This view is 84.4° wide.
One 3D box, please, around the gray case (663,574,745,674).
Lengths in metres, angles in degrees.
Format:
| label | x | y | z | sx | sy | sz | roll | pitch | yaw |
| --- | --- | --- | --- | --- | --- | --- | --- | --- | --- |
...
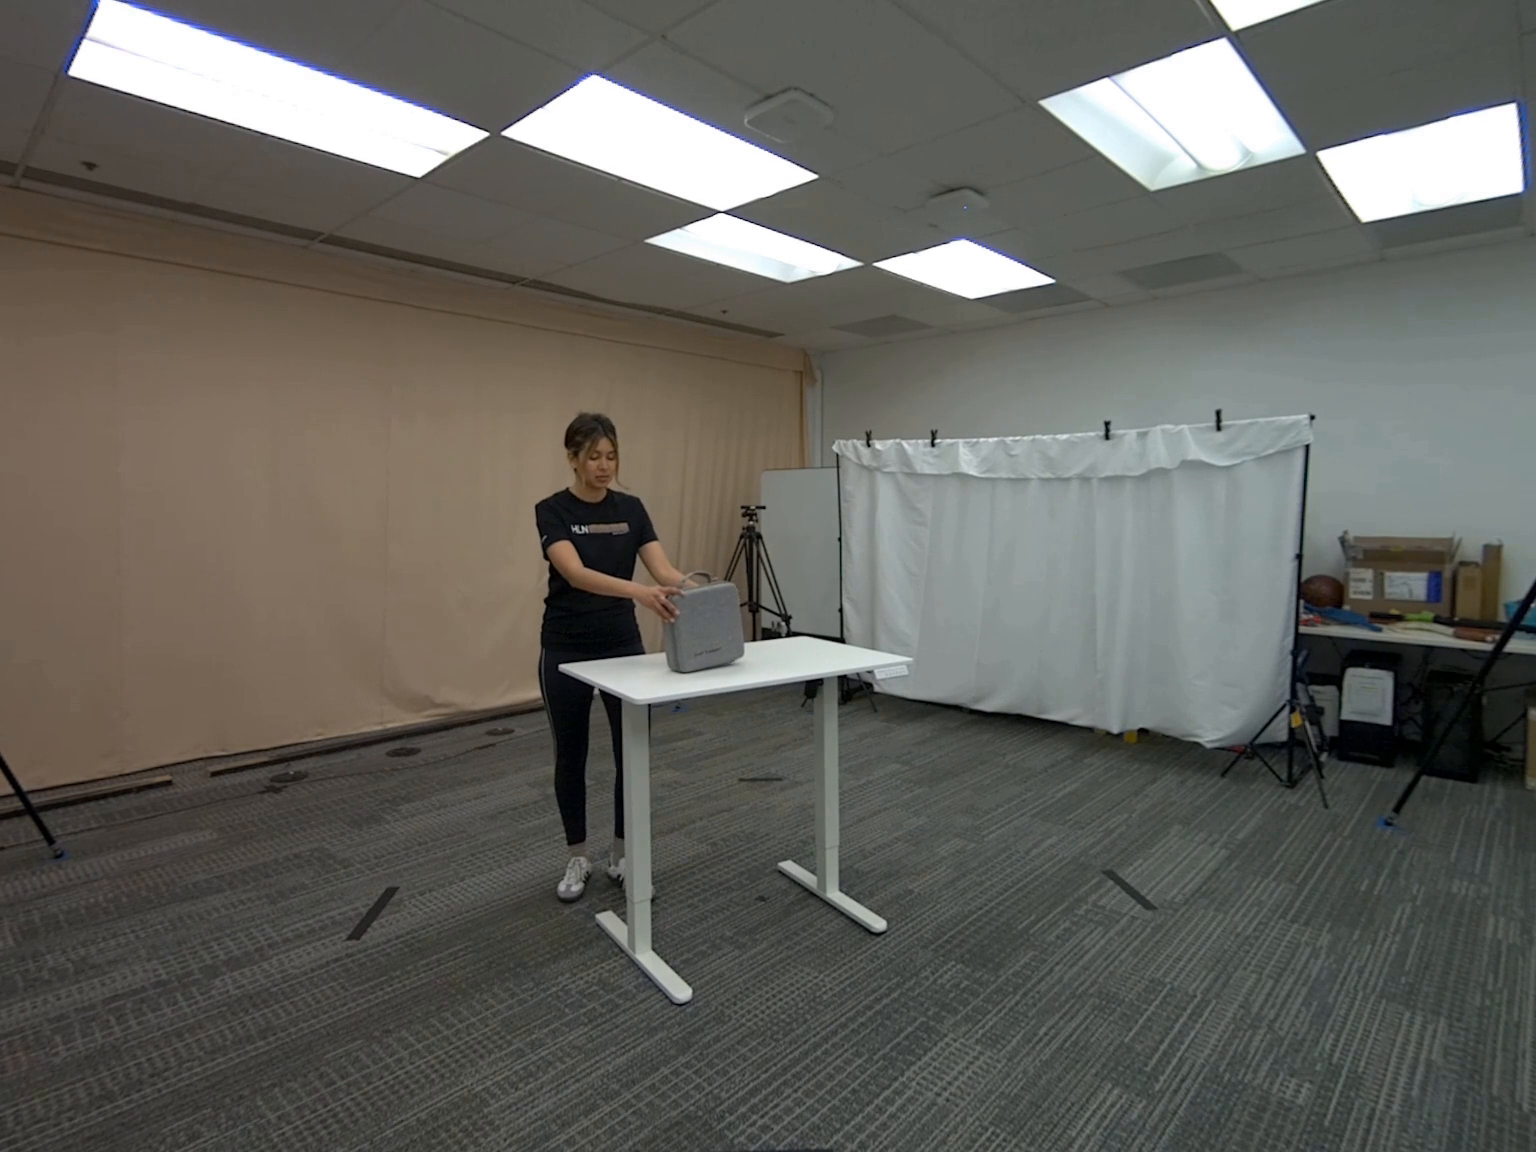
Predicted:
| label | x | y | z | sx | sy | sz | roll | pitch | yaw |
| --- | --- | --- | --- | --- | --- | --- | --- | --- | --- |
| gray case | -0.206 | 0.157 | 2.642 | 0.250 | 0.260 | 0.107 | -10 | 6 | -35 |
